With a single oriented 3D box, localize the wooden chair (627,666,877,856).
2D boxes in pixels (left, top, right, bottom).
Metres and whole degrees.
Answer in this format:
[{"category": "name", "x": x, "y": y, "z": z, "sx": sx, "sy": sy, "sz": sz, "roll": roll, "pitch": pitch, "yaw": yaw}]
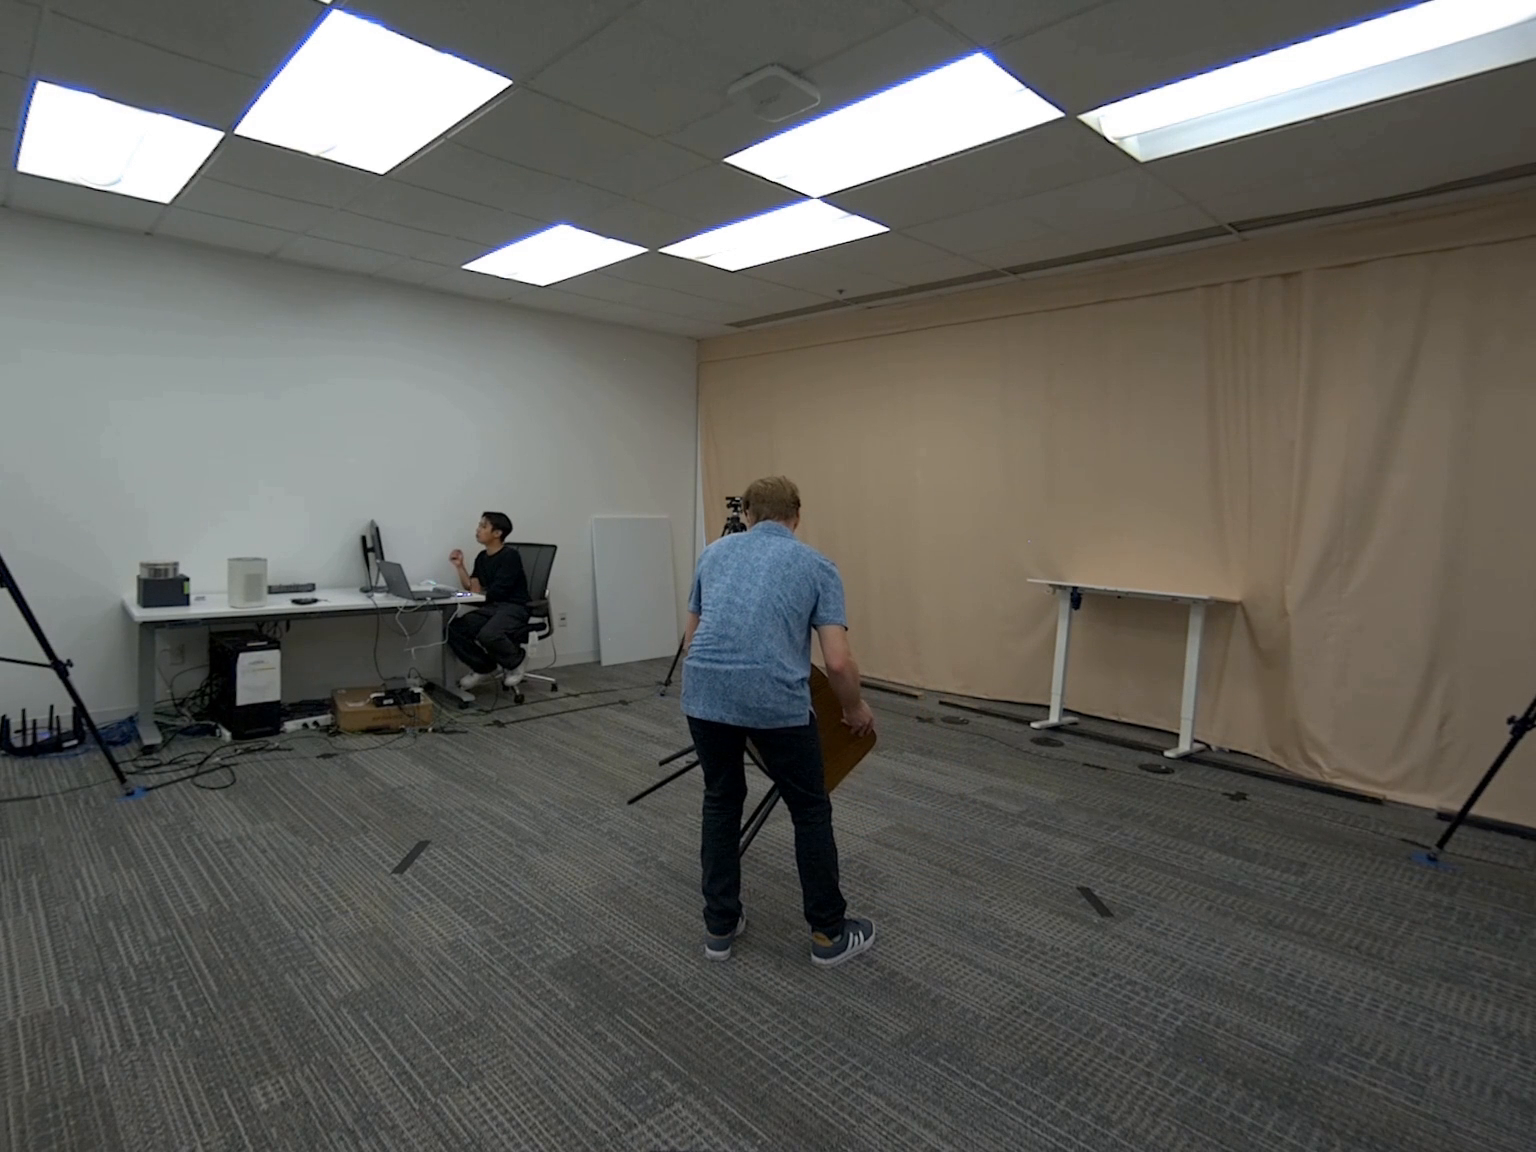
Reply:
[{"category": "wooden chair", "x": -0.015, "y": 0.658, "z": 3.095, "sx": 0.480, "sy": 0.878, "sz": 0.520, "roll": 46, "pitch": 13, "yaw": 3}]
